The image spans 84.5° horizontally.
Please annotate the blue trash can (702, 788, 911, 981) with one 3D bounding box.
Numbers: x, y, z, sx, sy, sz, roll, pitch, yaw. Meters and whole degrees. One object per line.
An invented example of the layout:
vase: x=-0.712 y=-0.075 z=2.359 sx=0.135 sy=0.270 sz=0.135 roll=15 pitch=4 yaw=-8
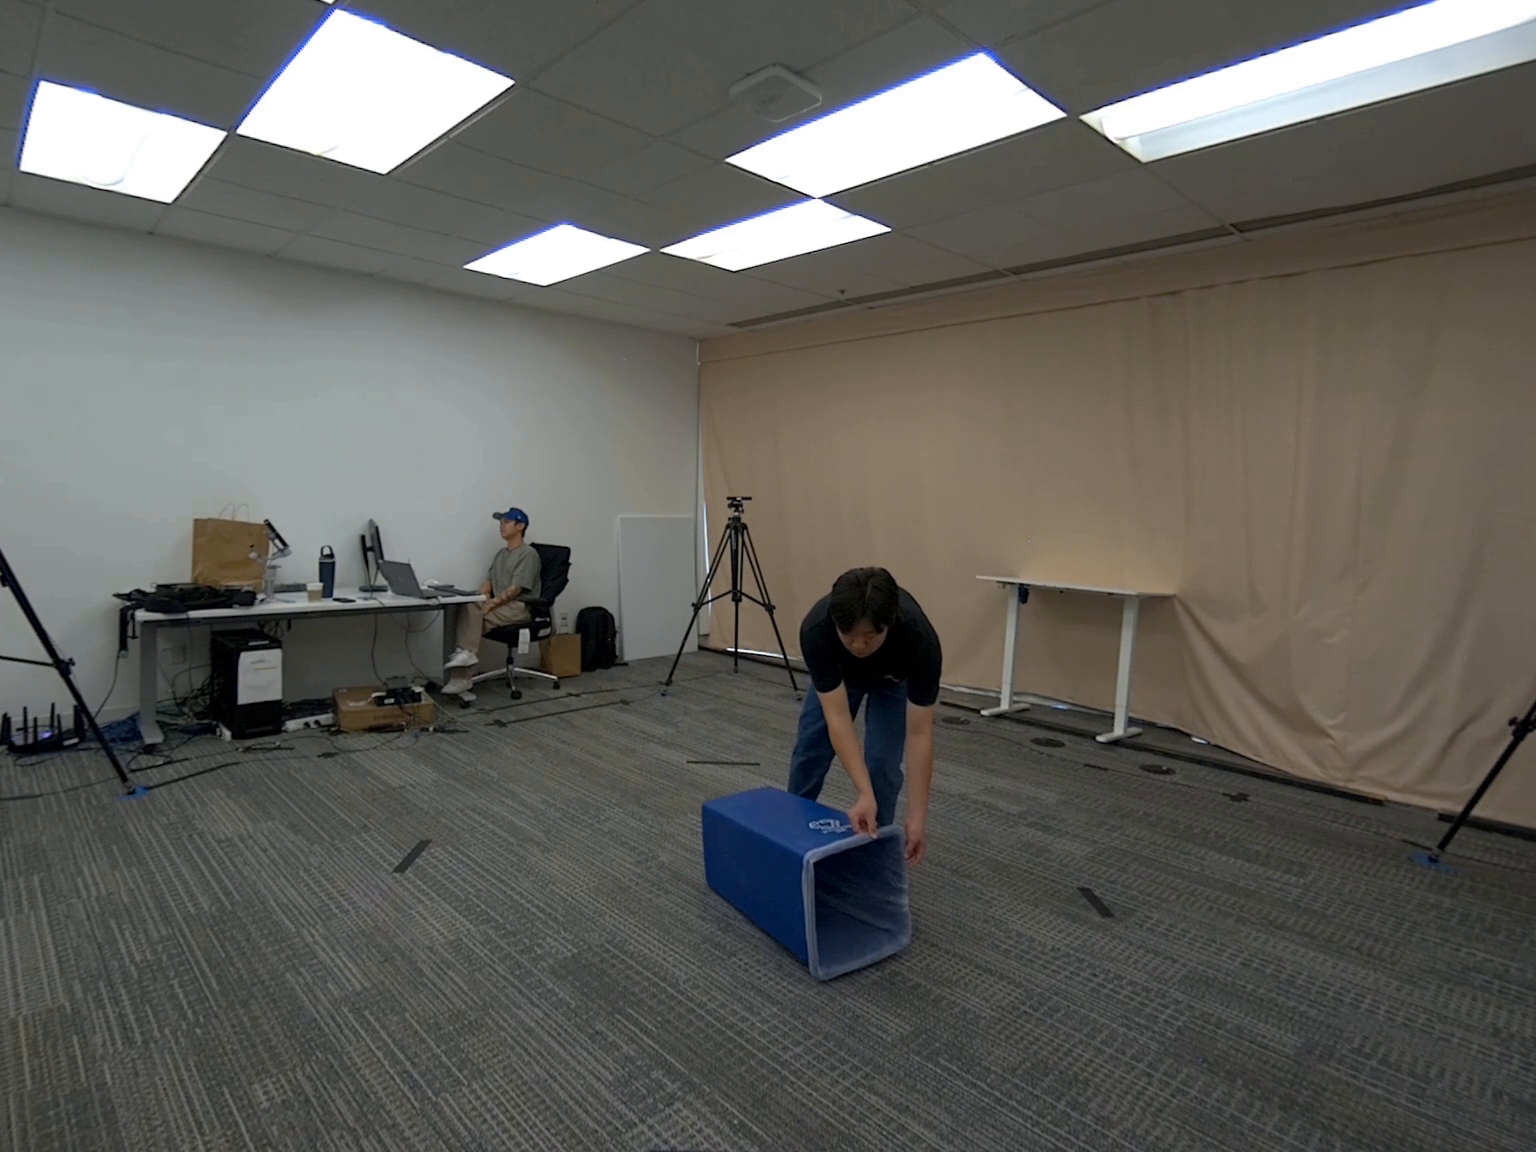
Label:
blue trash can: x=0.073 y=0.962 z=2.778 sx=0.367 sy=0.378 sz=0.728 roll=-5 pitch=2 yaw=-32
